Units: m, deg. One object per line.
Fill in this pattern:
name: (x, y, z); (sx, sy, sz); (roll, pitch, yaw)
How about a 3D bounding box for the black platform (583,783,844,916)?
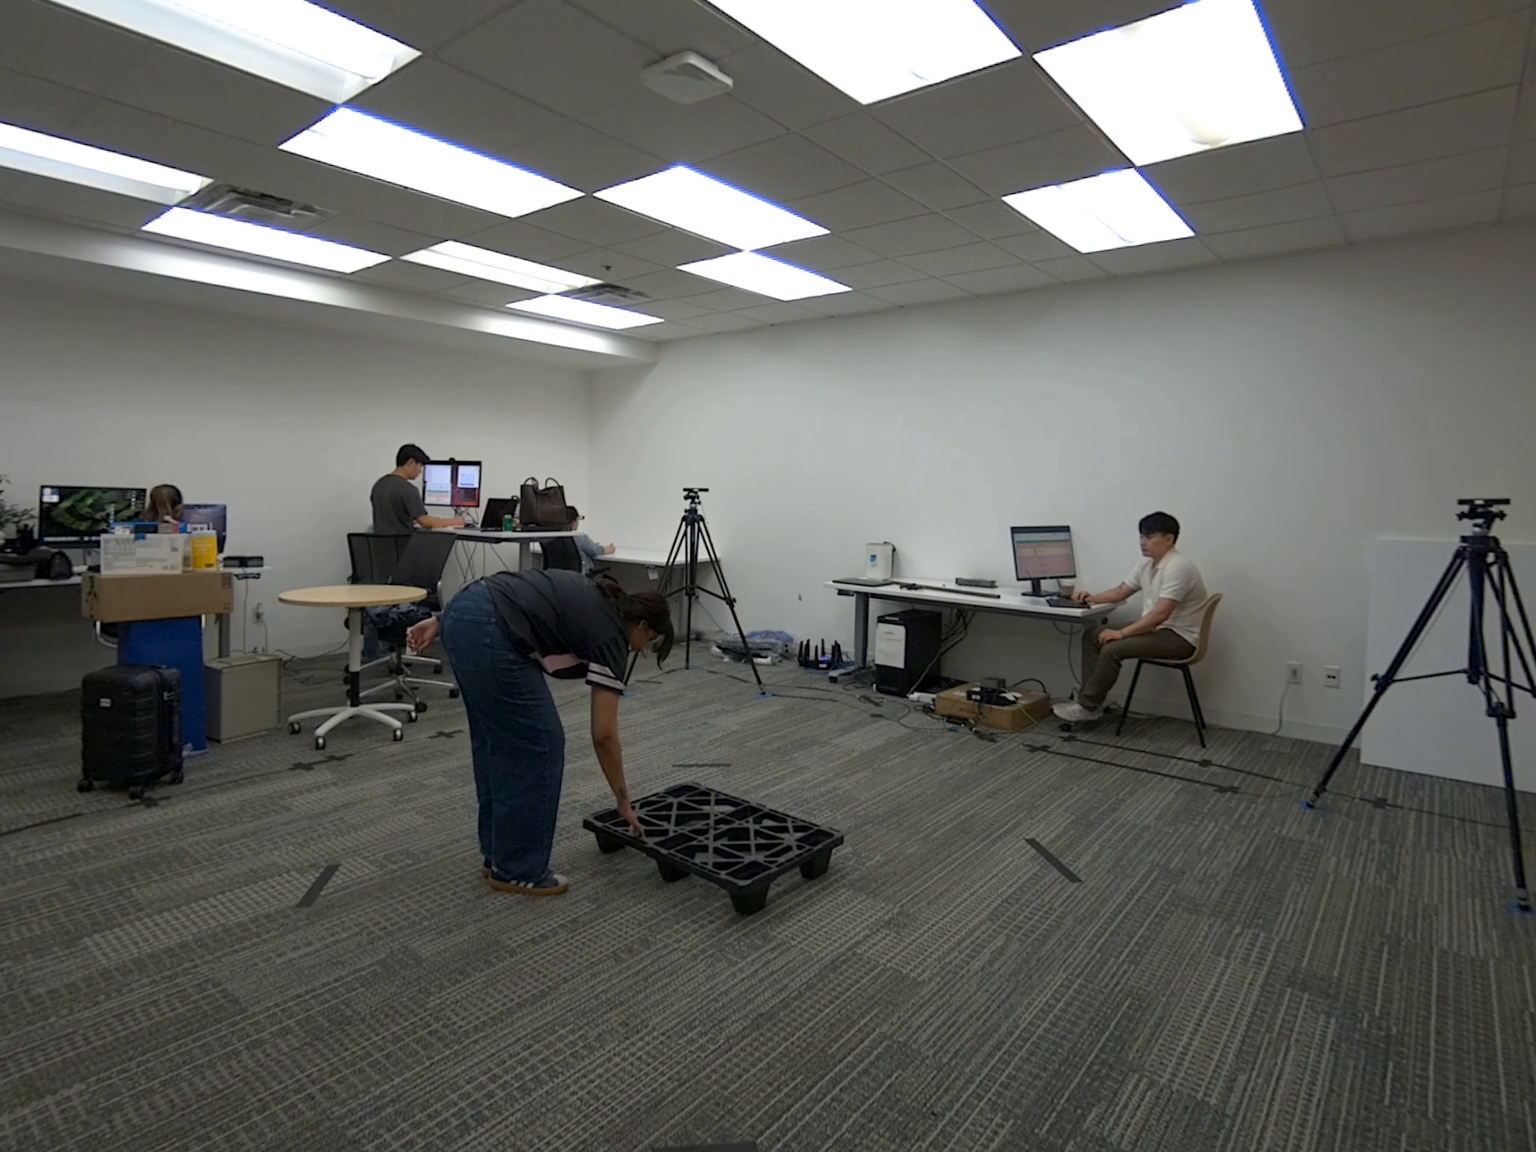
black platform: (-0.224, 0.995, 3.179); (0.833, 0.143, 0.587); (6, 7, 40)
